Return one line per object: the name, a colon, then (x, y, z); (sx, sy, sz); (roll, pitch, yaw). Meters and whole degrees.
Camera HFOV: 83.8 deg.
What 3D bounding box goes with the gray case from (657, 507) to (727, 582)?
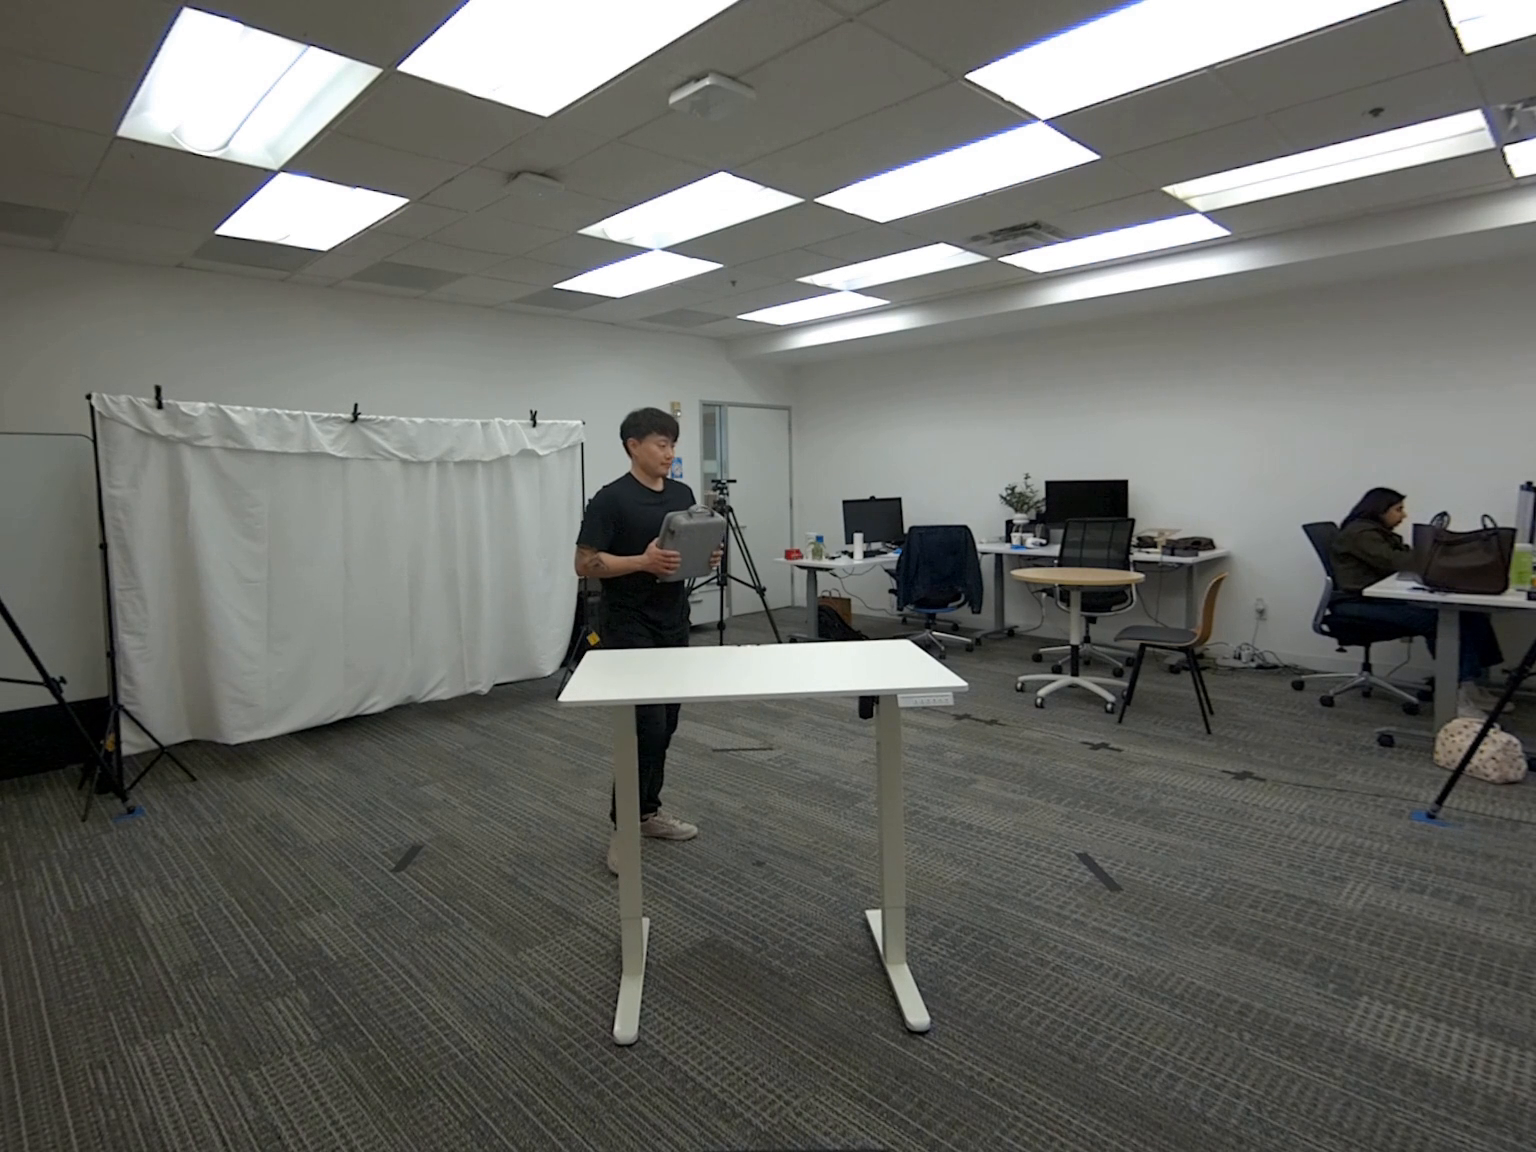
gray case: (-0.288, -0.114, 3.138); (0.108, 0.257, 0.251); (32, 26, 33)
